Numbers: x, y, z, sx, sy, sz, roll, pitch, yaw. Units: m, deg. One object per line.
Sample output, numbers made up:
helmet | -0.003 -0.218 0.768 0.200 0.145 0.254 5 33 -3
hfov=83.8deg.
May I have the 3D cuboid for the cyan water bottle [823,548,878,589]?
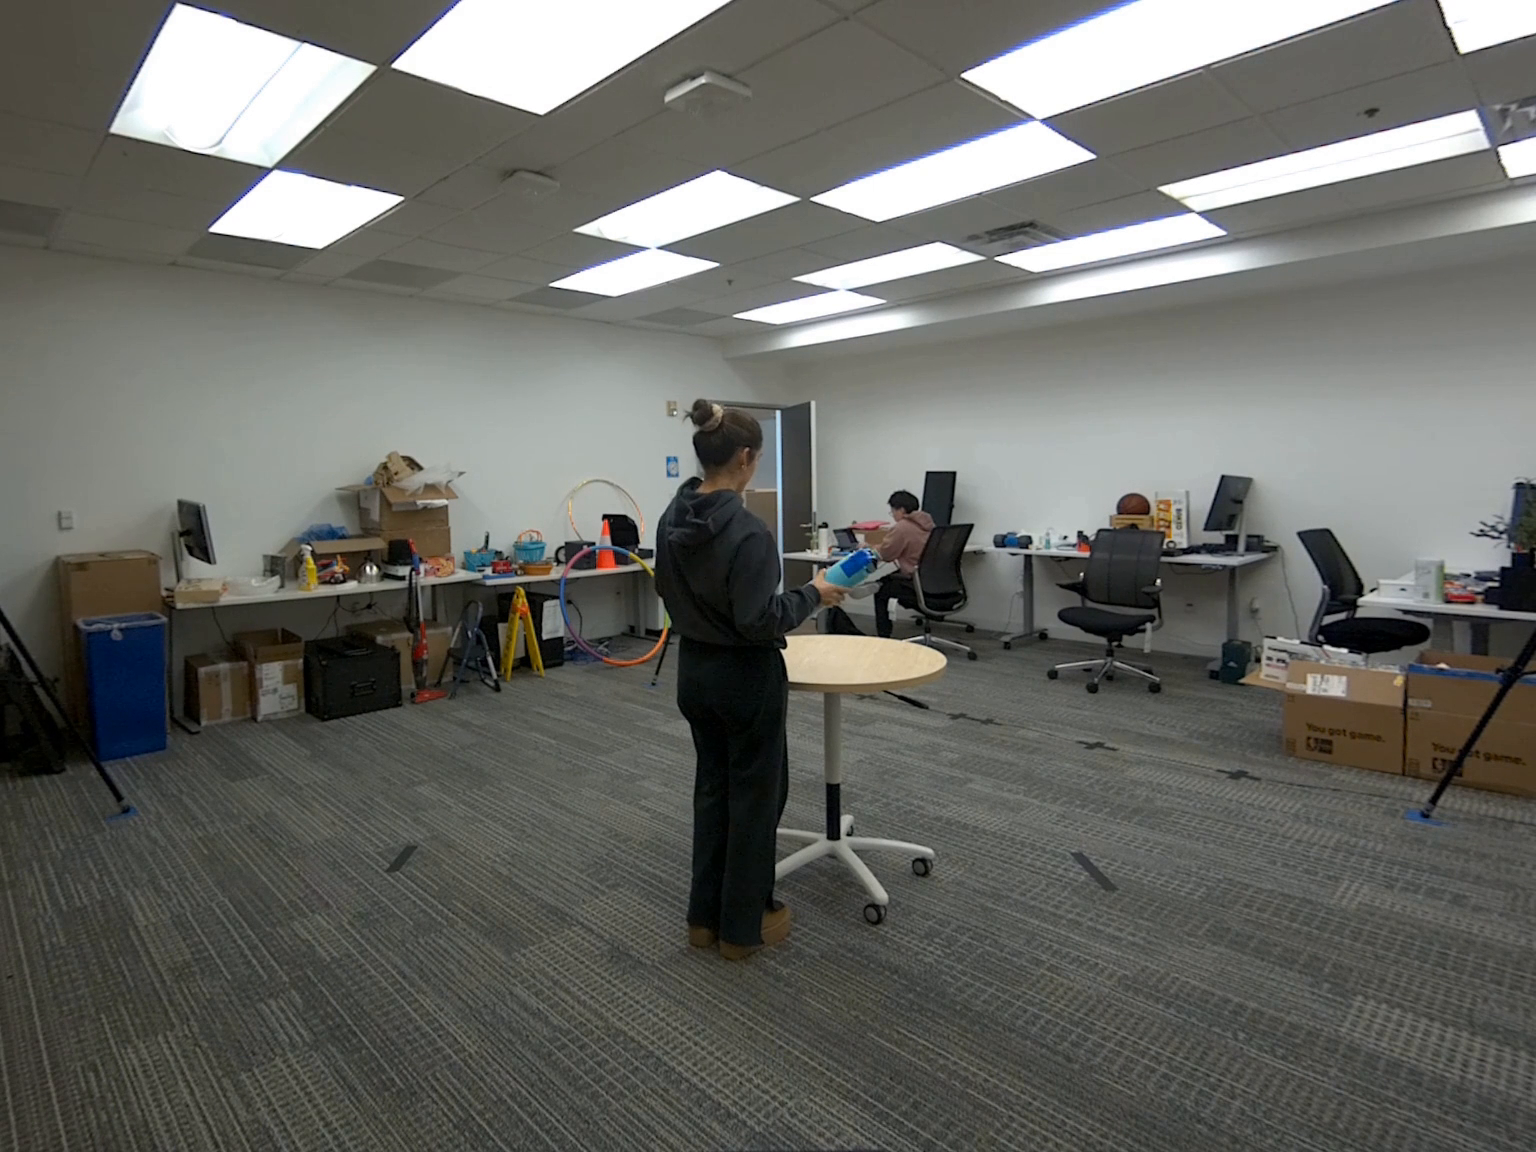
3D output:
cyan water bottle | 0.203 -0.015 2.537 0.284 0.093 0.091 -37 -5 14
